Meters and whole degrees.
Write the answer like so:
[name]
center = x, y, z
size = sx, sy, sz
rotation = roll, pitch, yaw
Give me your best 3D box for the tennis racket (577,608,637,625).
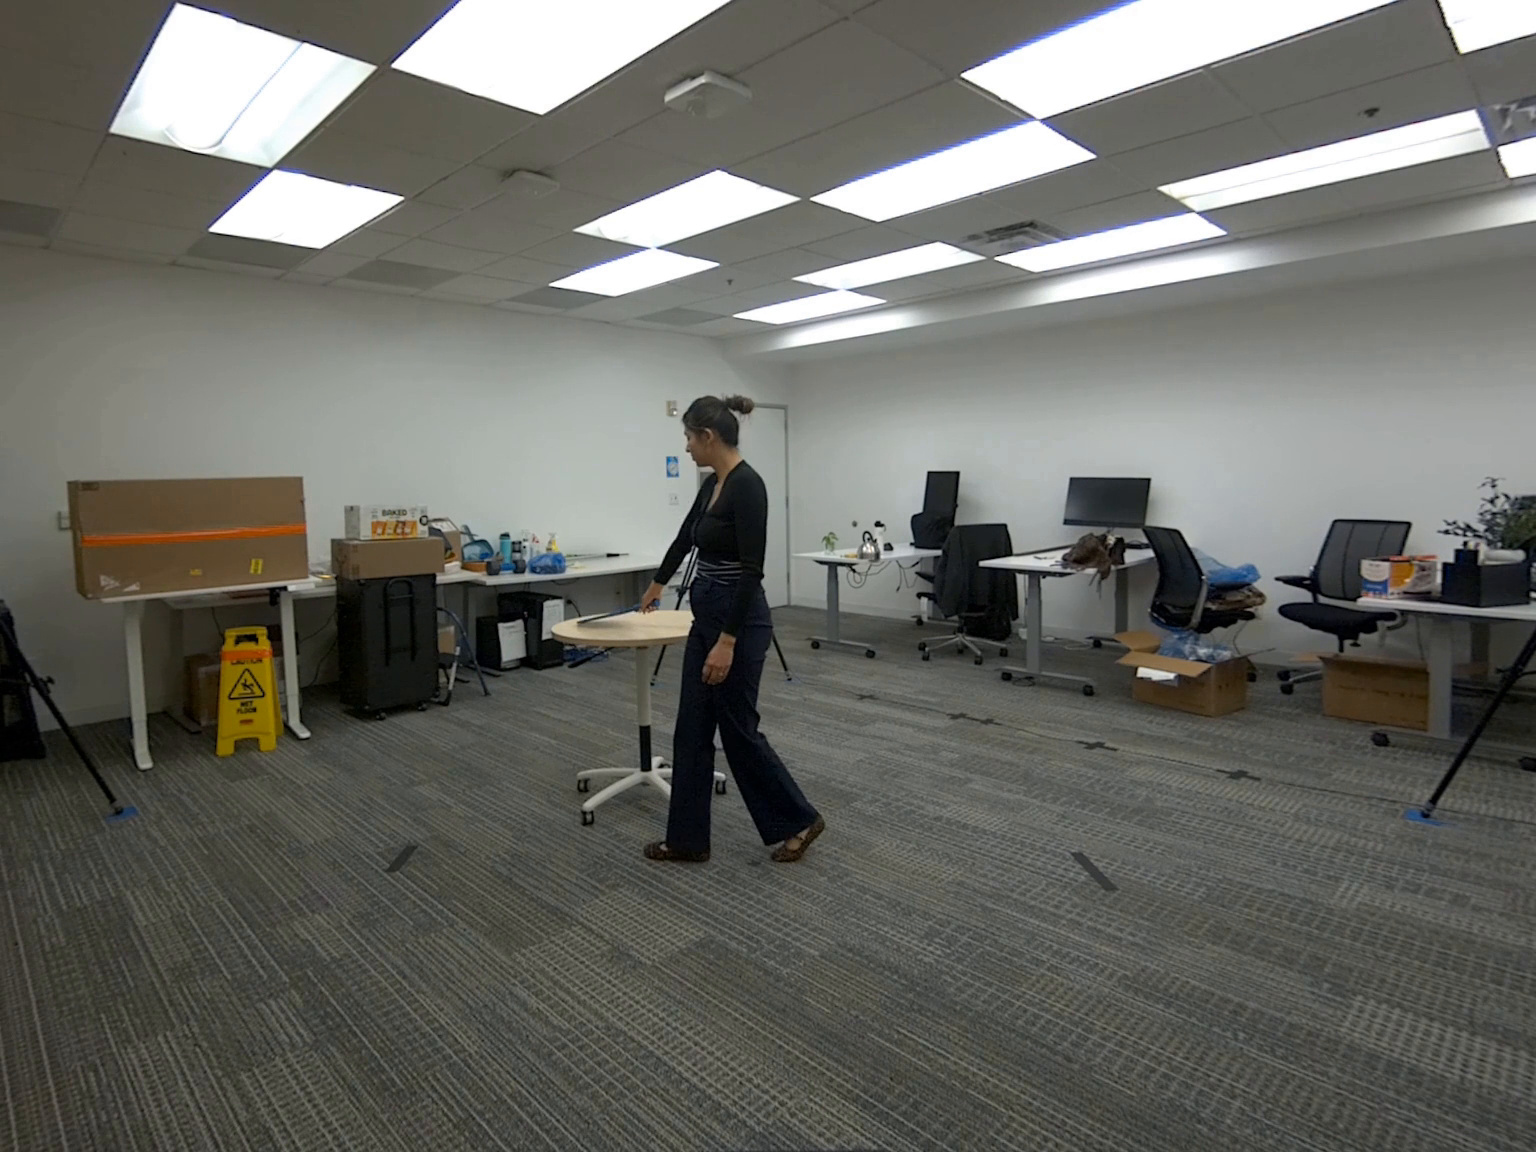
[tennis racket]
center = -0.641, 0.165, 3.637
size = 0.442, 0.032, 0.209
rotation = -10, 1, 32
